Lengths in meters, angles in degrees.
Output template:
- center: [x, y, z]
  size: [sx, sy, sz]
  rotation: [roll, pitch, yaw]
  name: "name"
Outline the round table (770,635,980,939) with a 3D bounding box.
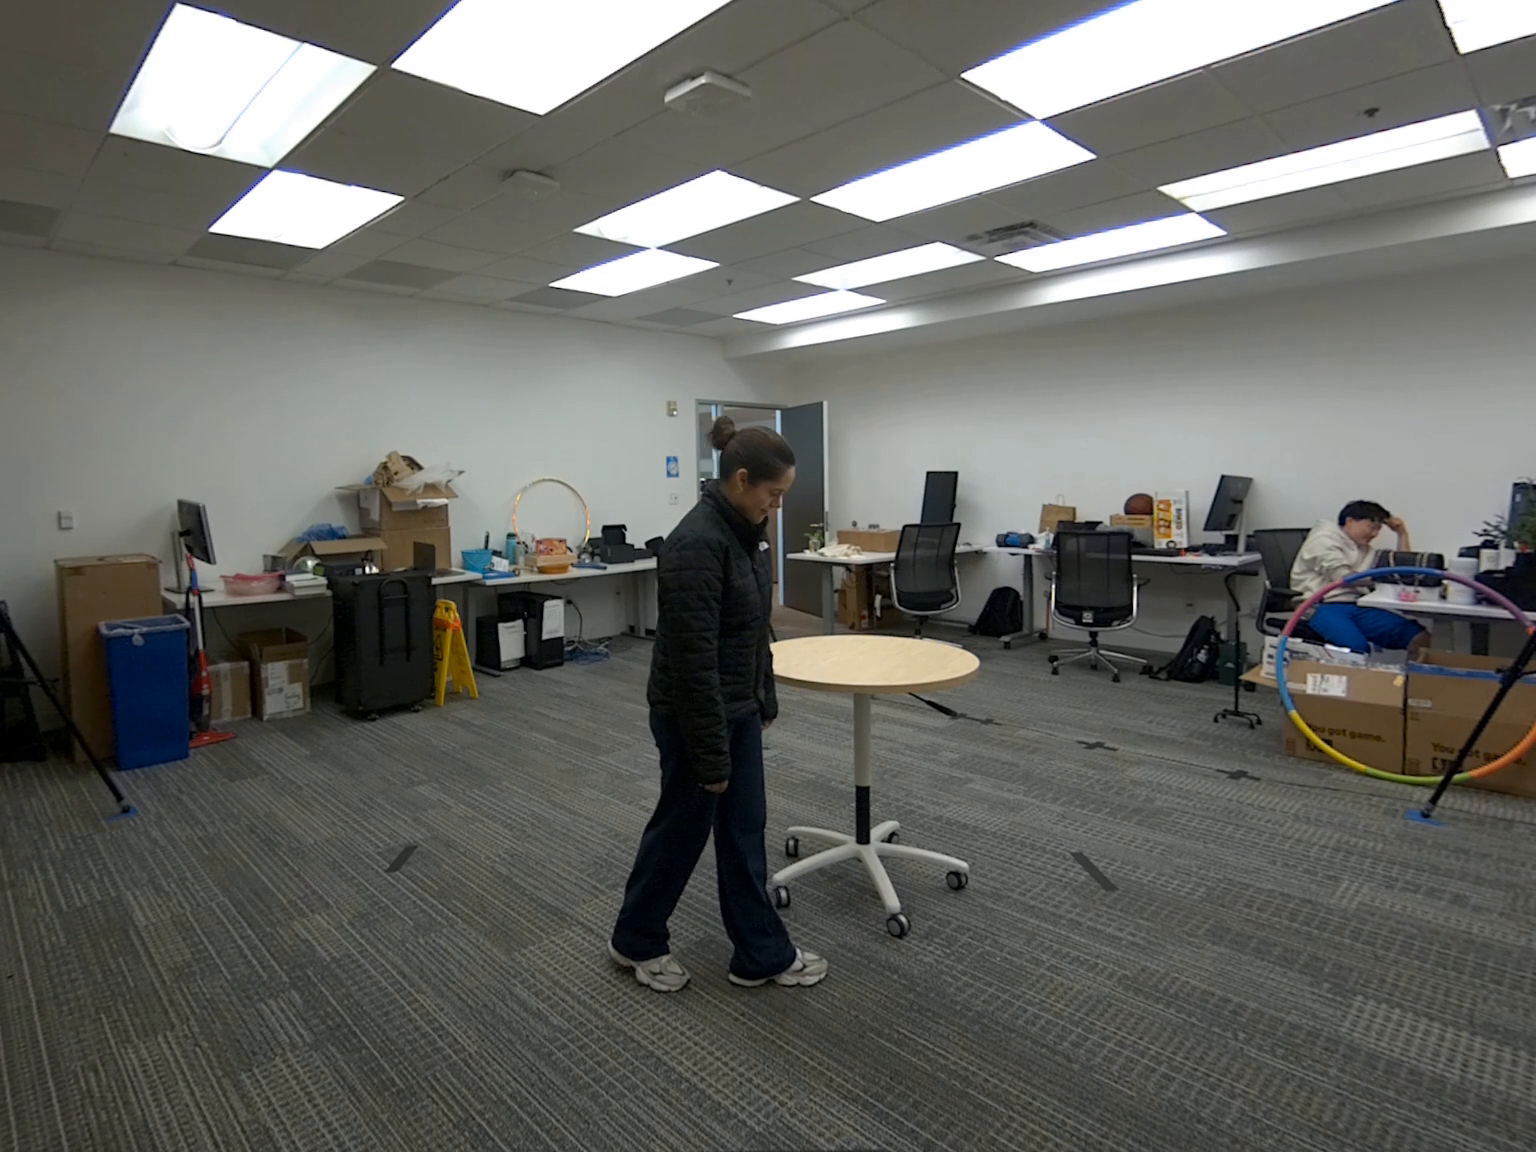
- center: [0.316, 0.660, 2.952]
  size: [0.784, 0.783, 0.790]
  rotation: [-1, 6, -2]
  name: "round table"
